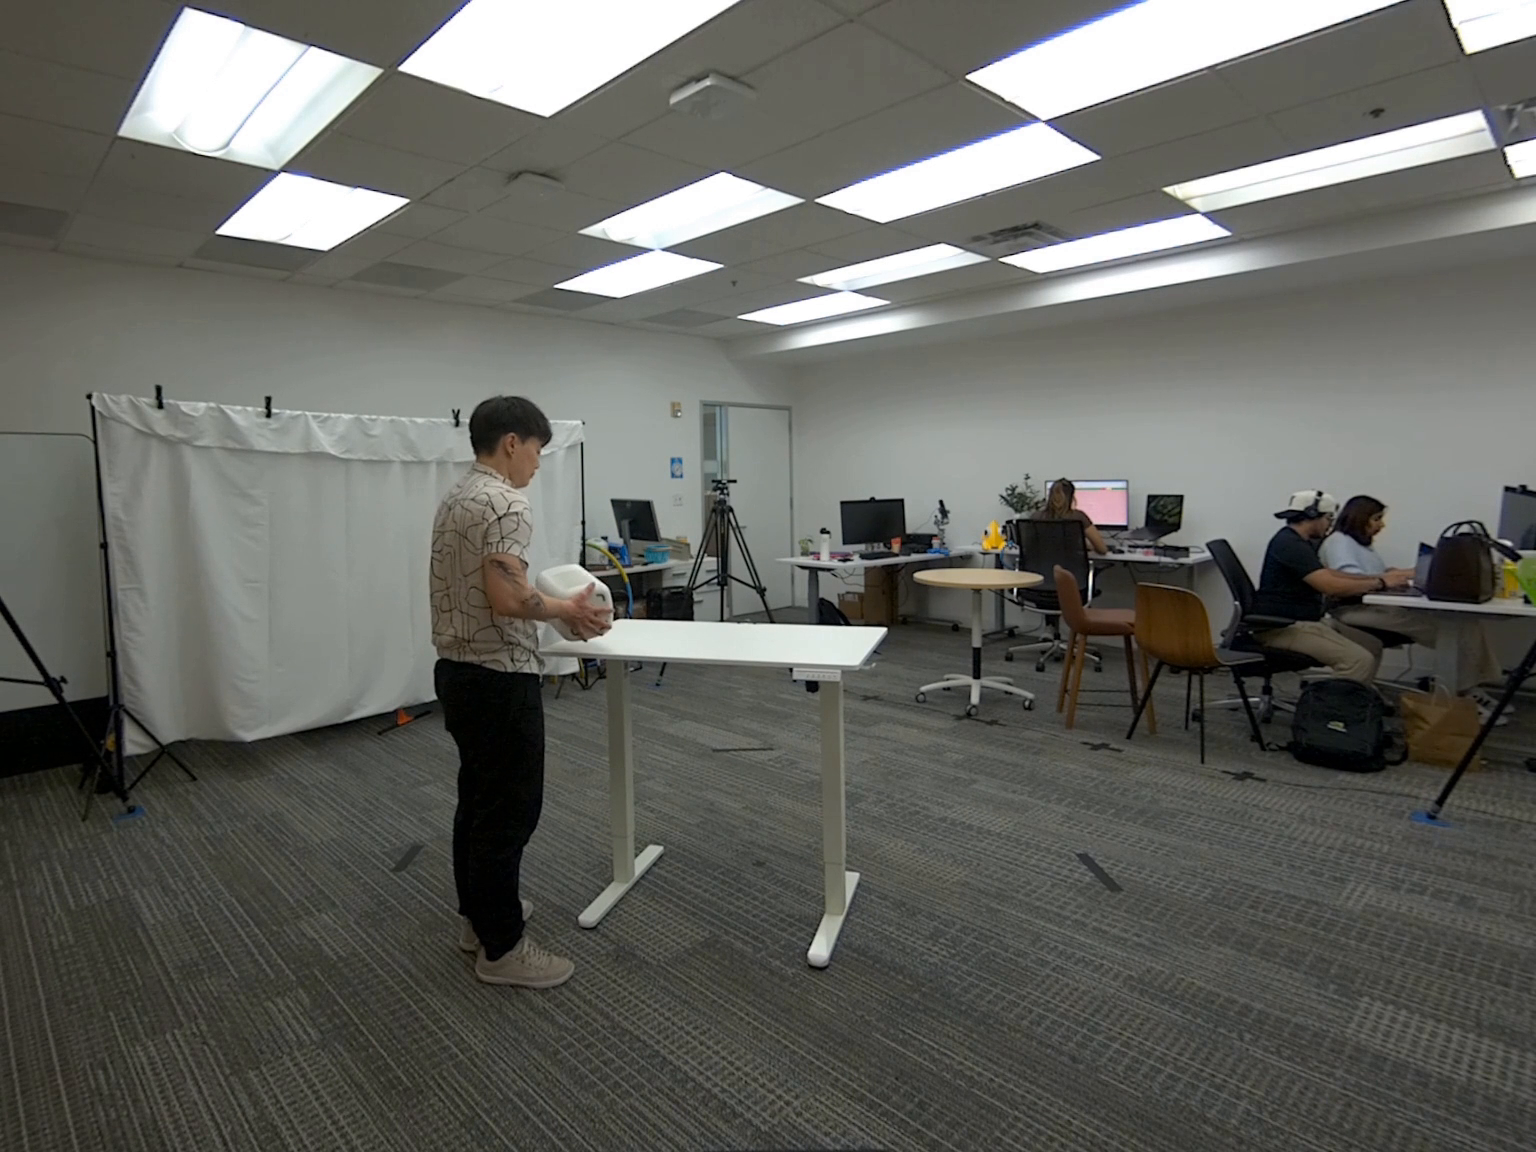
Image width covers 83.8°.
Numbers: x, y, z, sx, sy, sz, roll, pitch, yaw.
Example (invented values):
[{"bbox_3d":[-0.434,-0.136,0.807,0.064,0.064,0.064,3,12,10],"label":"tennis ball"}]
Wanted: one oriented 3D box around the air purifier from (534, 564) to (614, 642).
[{"bbox_3d":[-0.595,0.075,2.647,0.168,0.168,0.274,-11,20,-28],"label":"air purifier"}]
